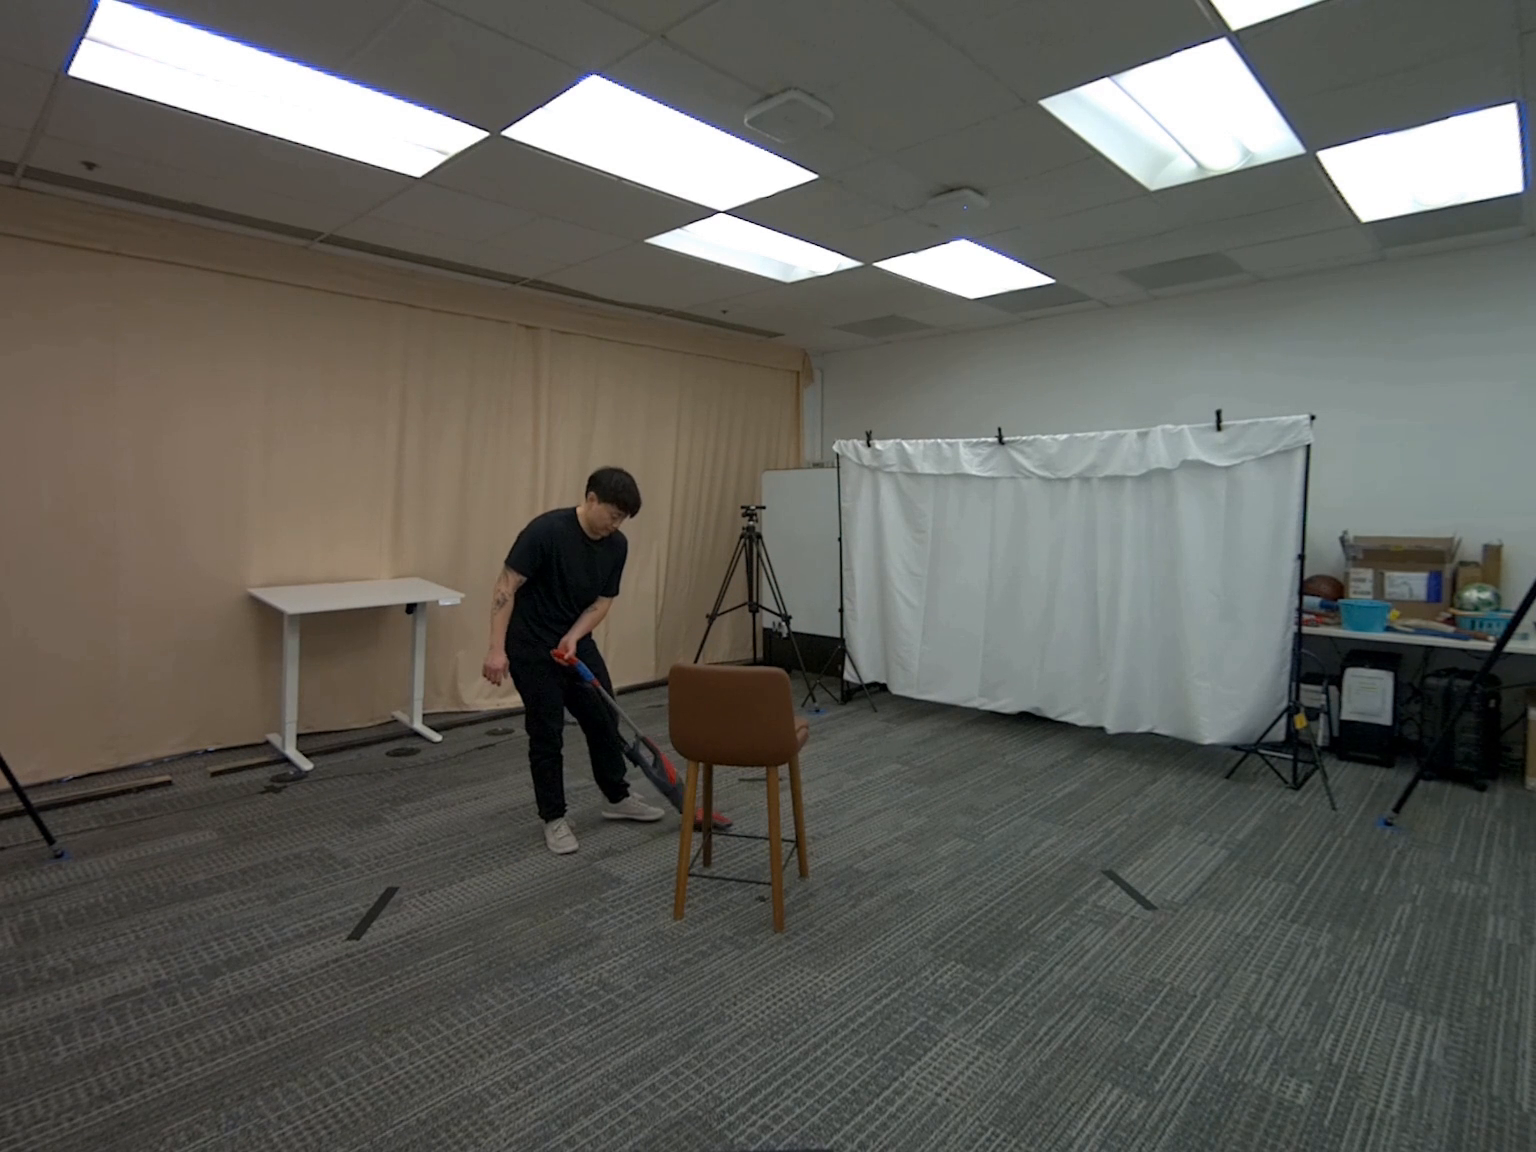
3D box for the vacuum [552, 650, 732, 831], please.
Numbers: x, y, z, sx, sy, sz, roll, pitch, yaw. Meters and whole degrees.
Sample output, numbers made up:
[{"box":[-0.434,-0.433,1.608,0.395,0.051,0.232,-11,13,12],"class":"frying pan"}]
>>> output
[{"box":[-0.546,0.695,3.495,0.143,1.025,0.260,-46,24,-21],"class":"vacuum"}]
